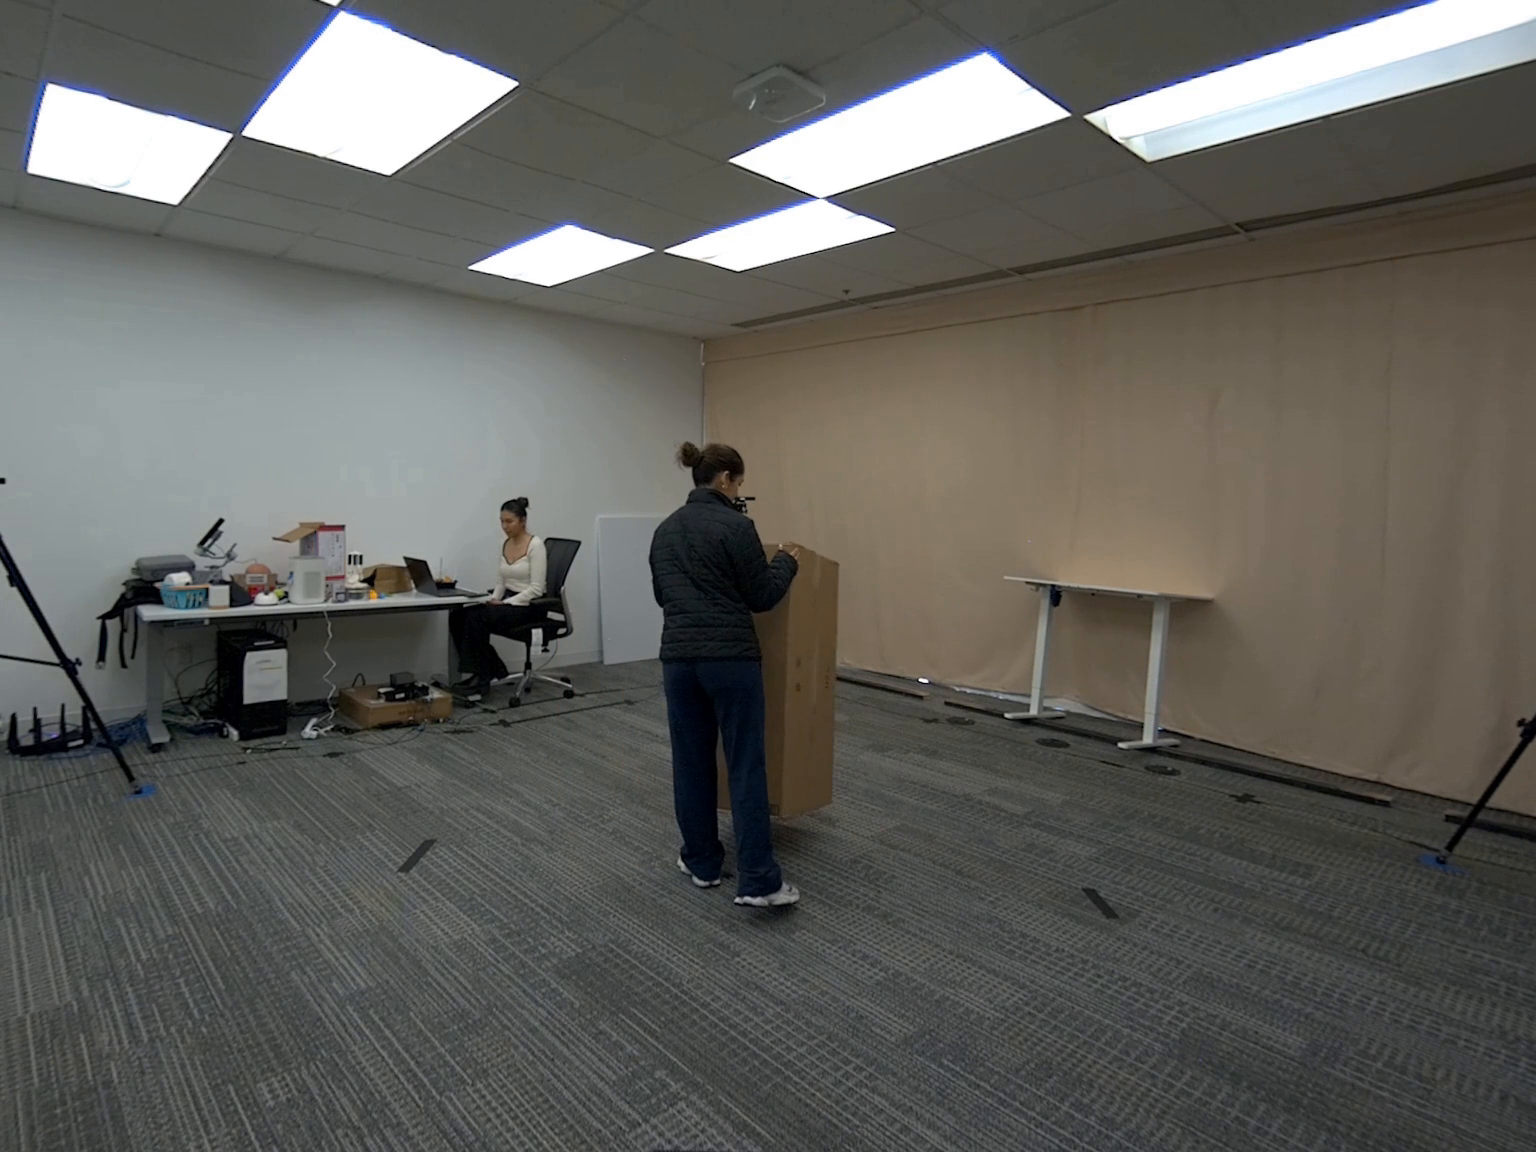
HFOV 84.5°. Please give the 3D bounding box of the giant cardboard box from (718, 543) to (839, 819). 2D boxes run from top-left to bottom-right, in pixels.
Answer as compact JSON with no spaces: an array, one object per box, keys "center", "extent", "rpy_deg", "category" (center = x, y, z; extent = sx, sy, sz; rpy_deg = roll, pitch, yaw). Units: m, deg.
[{"center":[-0.016,0.424,3.448],"extent":[0.433,1.032,0.564],"rpy_deg":[-2,-10,23],"category":"giant cardboard box"}]
